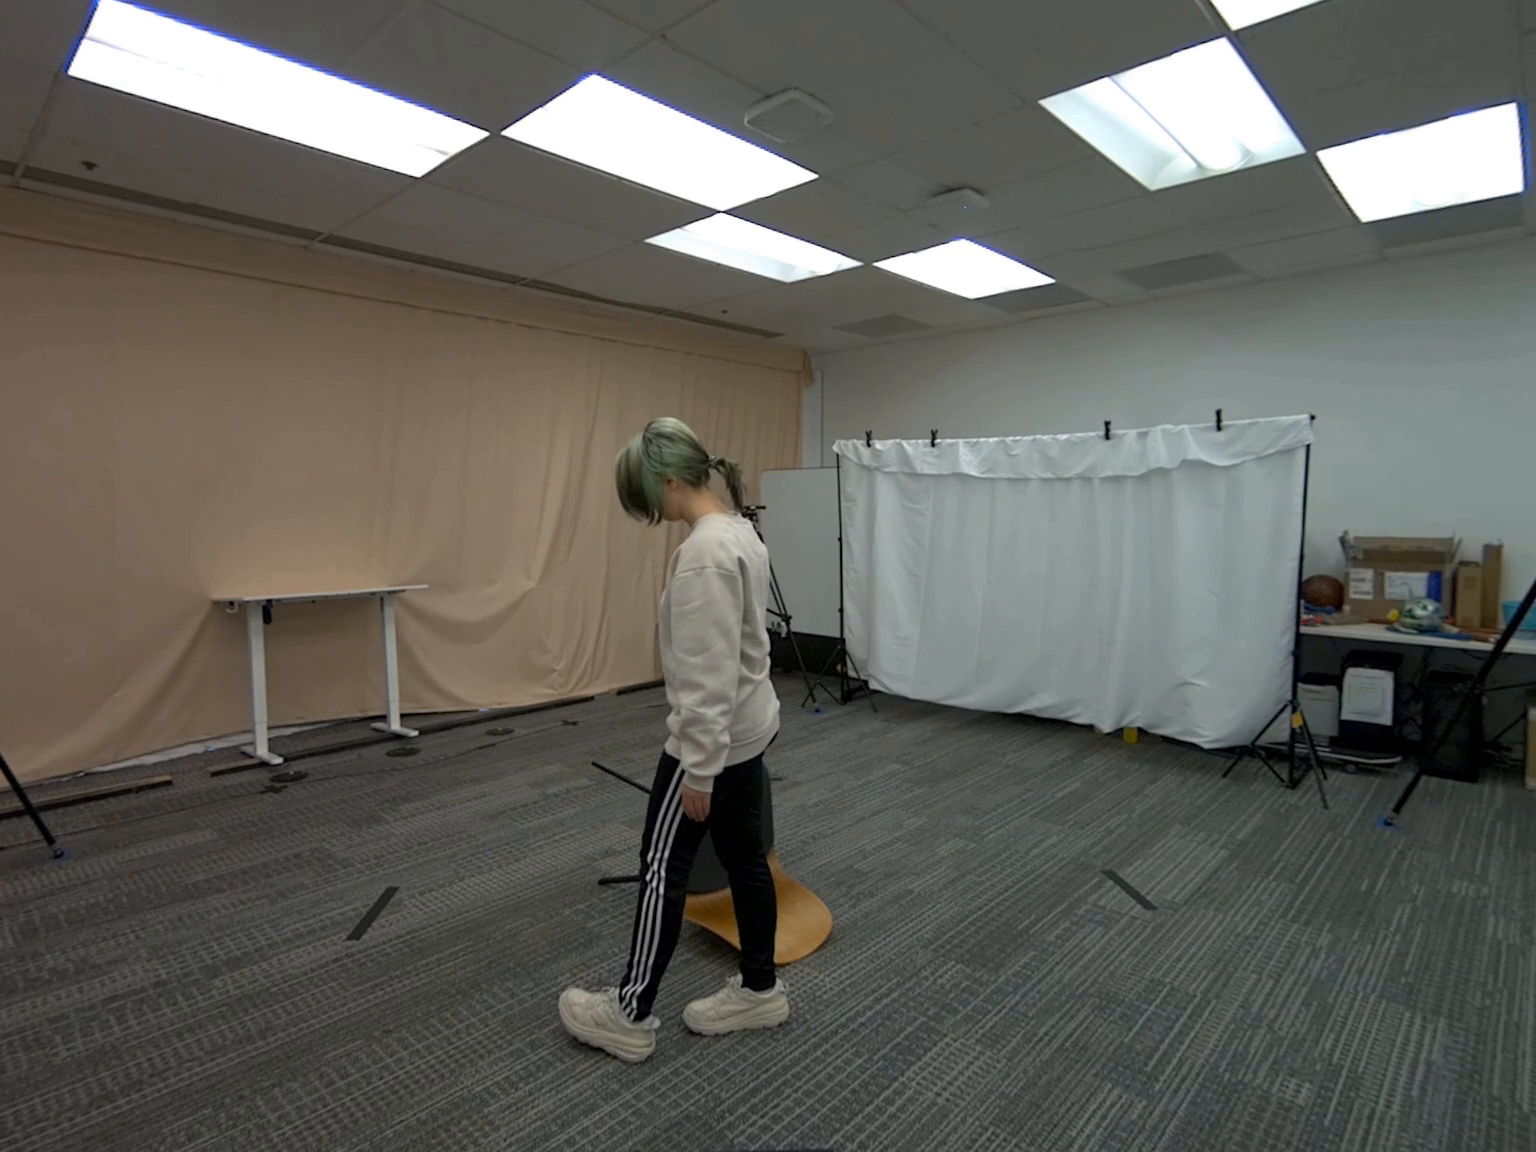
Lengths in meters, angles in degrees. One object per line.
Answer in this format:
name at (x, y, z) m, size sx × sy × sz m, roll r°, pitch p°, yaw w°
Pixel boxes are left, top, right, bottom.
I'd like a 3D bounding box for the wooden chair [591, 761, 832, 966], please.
wooden chair at (-0.191, 0.893, 2.908) m, size 0.464 × 0.522 × 0.907 m, roll -3°, pitch 6°, yaw -40°
